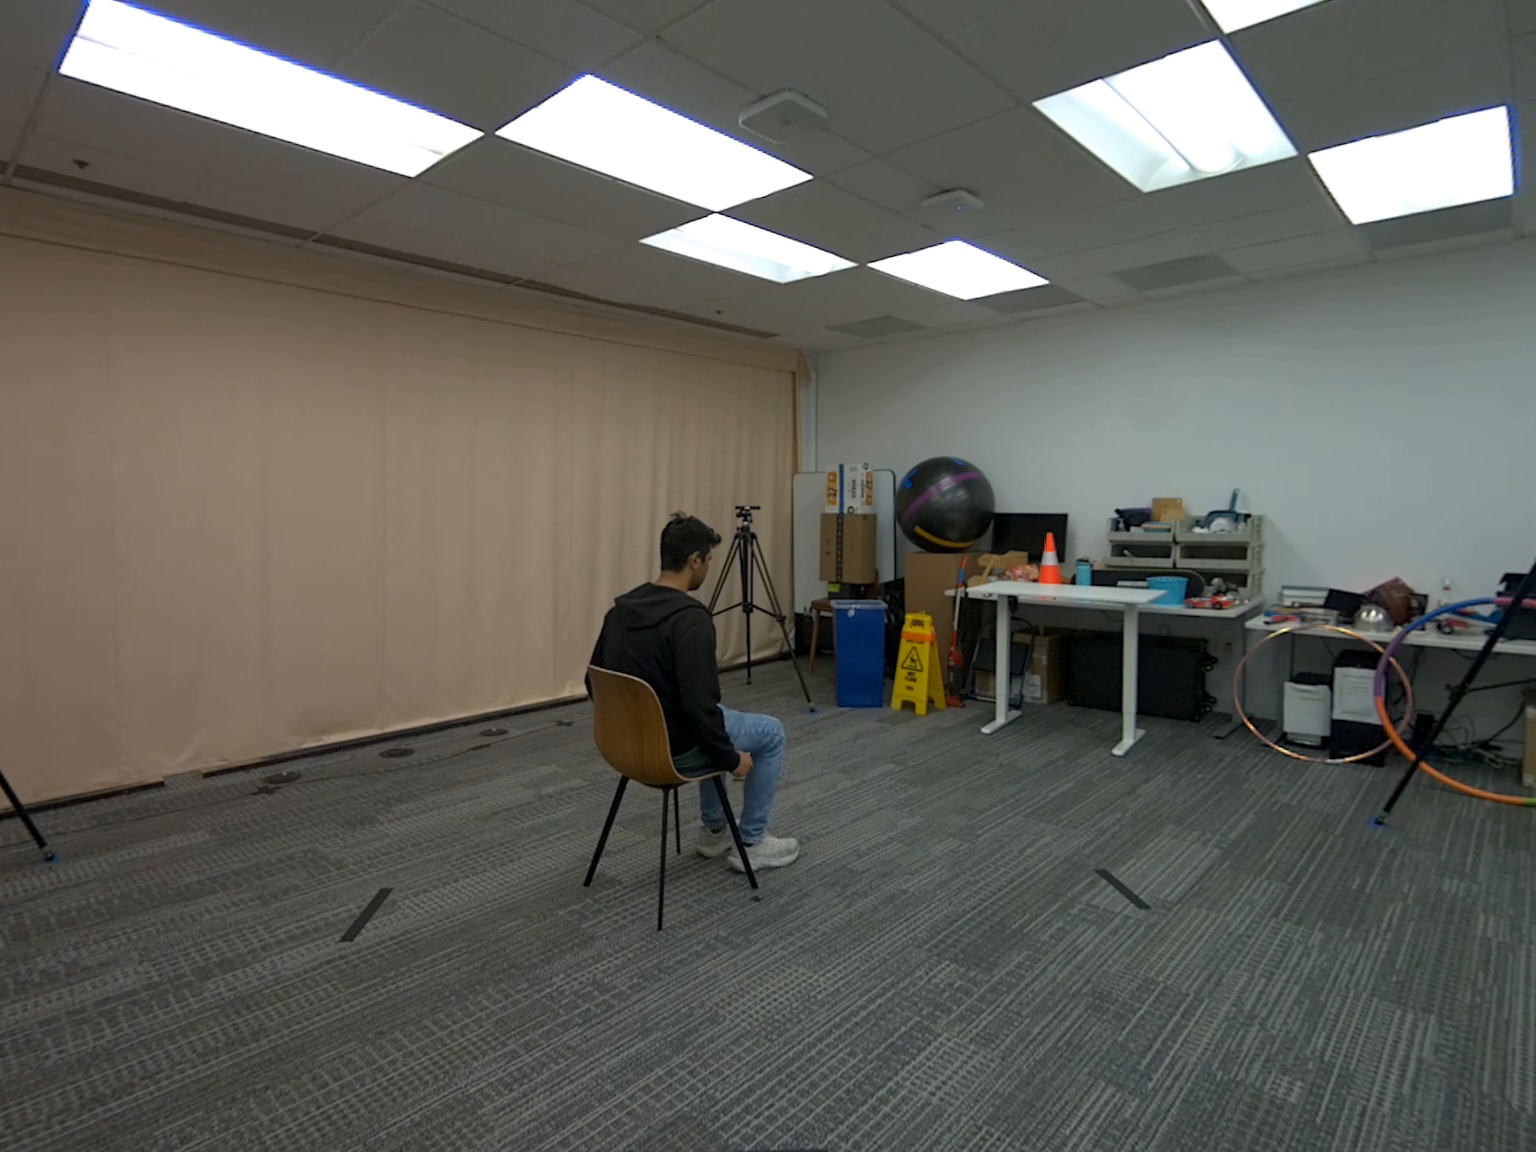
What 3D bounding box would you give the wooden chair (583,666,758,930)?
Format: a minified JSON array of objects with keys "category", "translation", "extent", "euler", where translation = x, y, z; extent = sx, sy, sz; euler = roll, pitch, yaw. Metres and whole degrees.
[{"category":"wooden chair","translation":[-0.351,0.713,3.059],"extent":[0.508,0.874,0.494],"euler":[-8,7,-43]}]
